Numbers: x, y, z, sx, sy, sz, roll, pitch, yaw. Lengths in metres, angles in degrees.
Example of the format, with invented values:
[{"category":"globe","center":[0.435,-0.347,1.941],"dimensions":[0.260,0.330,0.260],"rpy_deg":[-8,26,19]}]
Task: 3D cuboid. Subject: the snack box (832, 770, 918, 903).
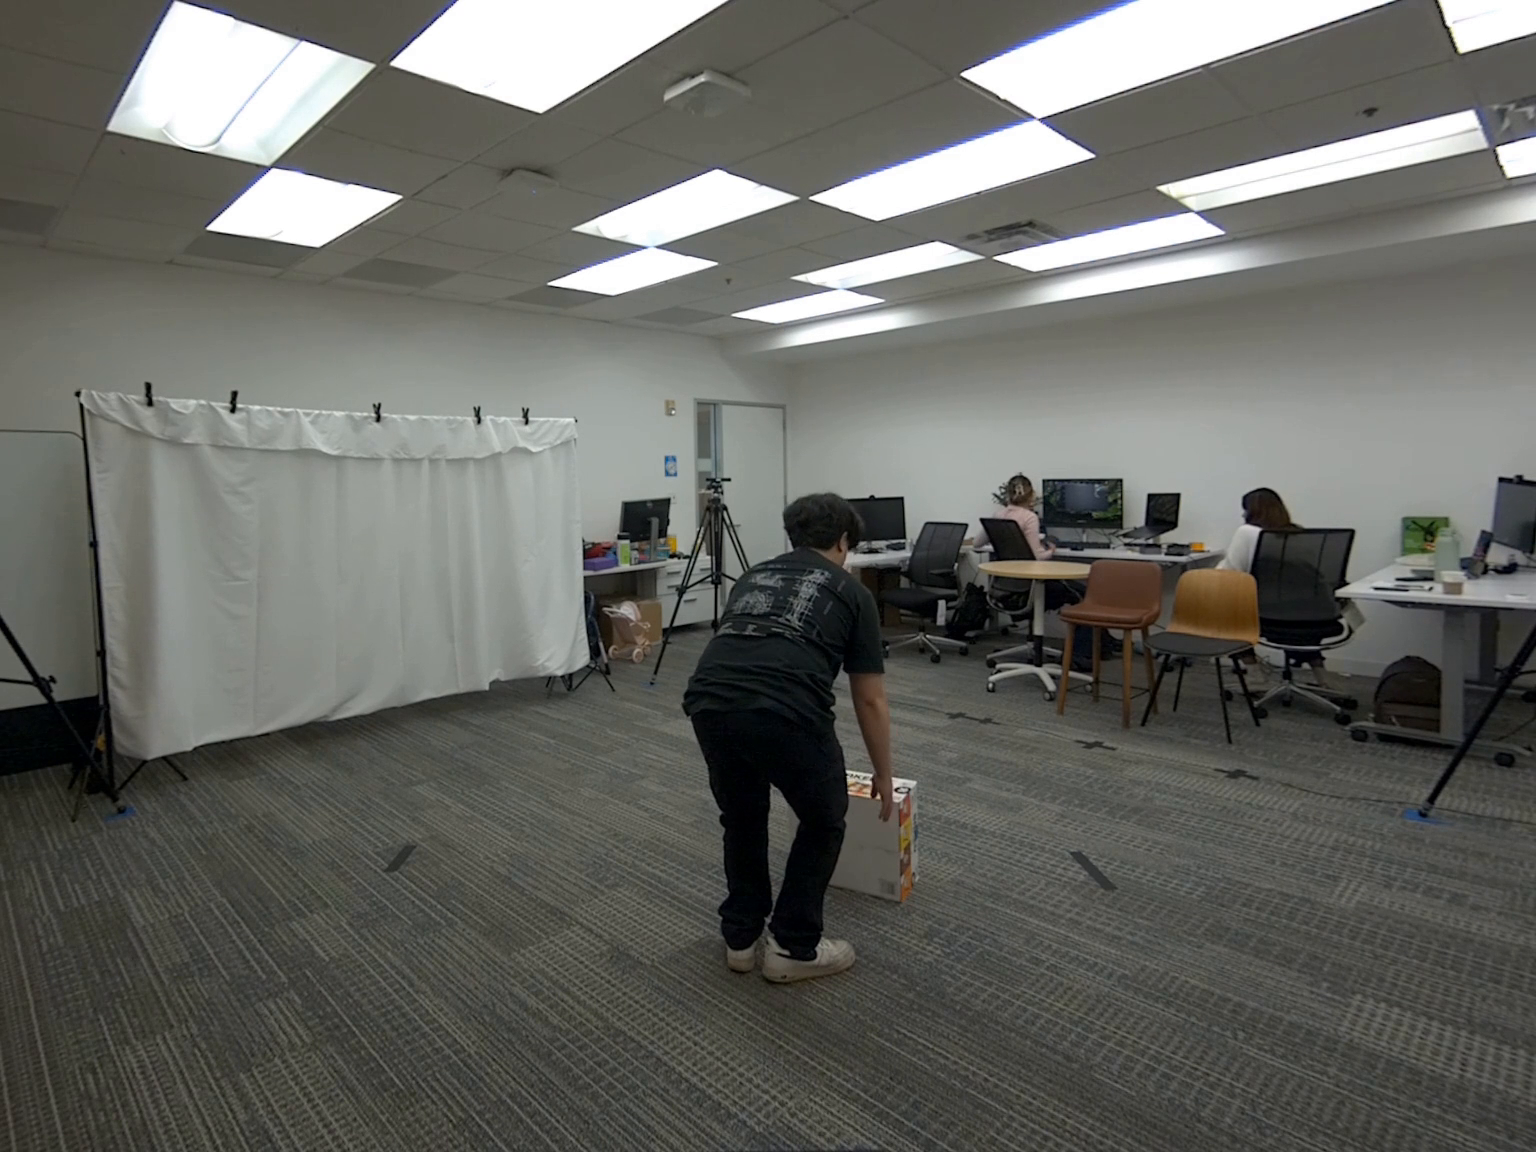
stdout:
[{"category":"snack box","center":[0.299,0.882,2.968],"dimensions":[0.415,0.339,0.201],"rpy_deg":[1,5,29]}]
